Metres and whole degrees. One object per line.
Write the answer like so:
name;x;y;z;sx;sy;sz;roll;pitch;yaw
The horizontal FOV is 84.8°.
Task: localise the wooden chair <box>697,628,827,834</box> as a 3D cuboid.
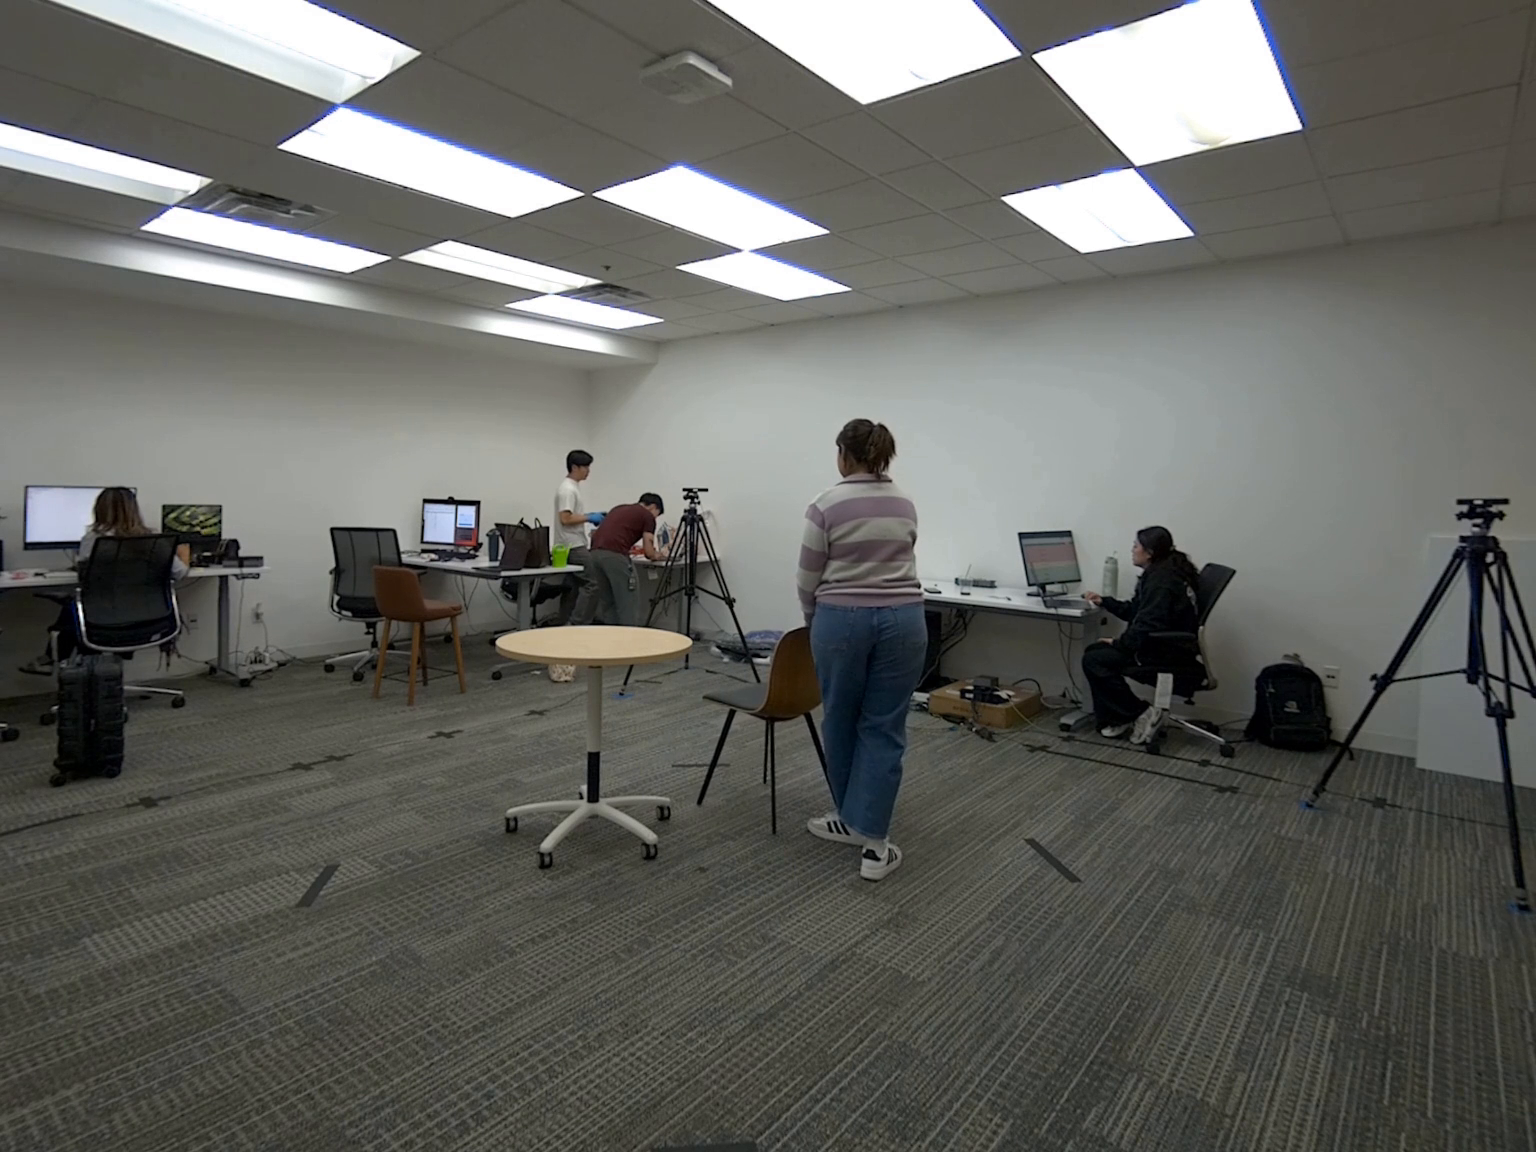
wooden chair;-0.002;0.583;3.726;0.542;0.873;0.463;10;8;43
